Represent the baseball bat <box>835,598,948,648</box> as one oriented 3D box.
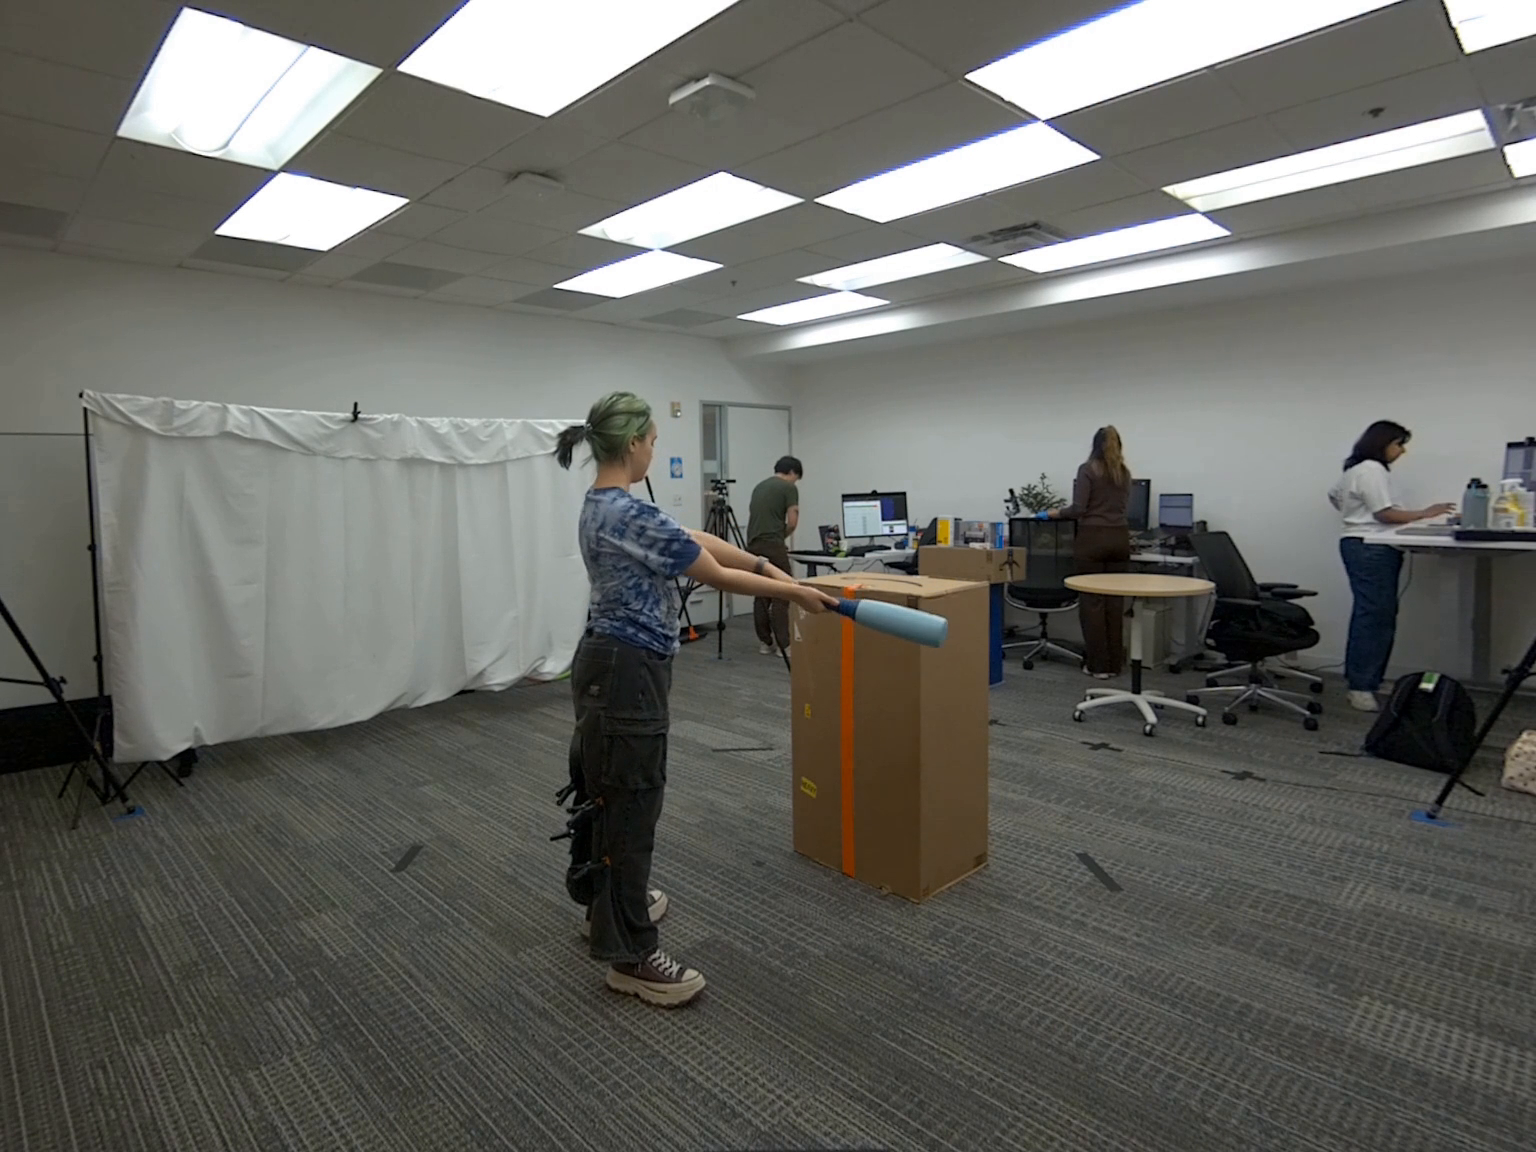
[{"bbox_3d":[0.236,0.087,2.459,0.557,0.088,0.087,13,10,24],"label":"baseball bat"}]
